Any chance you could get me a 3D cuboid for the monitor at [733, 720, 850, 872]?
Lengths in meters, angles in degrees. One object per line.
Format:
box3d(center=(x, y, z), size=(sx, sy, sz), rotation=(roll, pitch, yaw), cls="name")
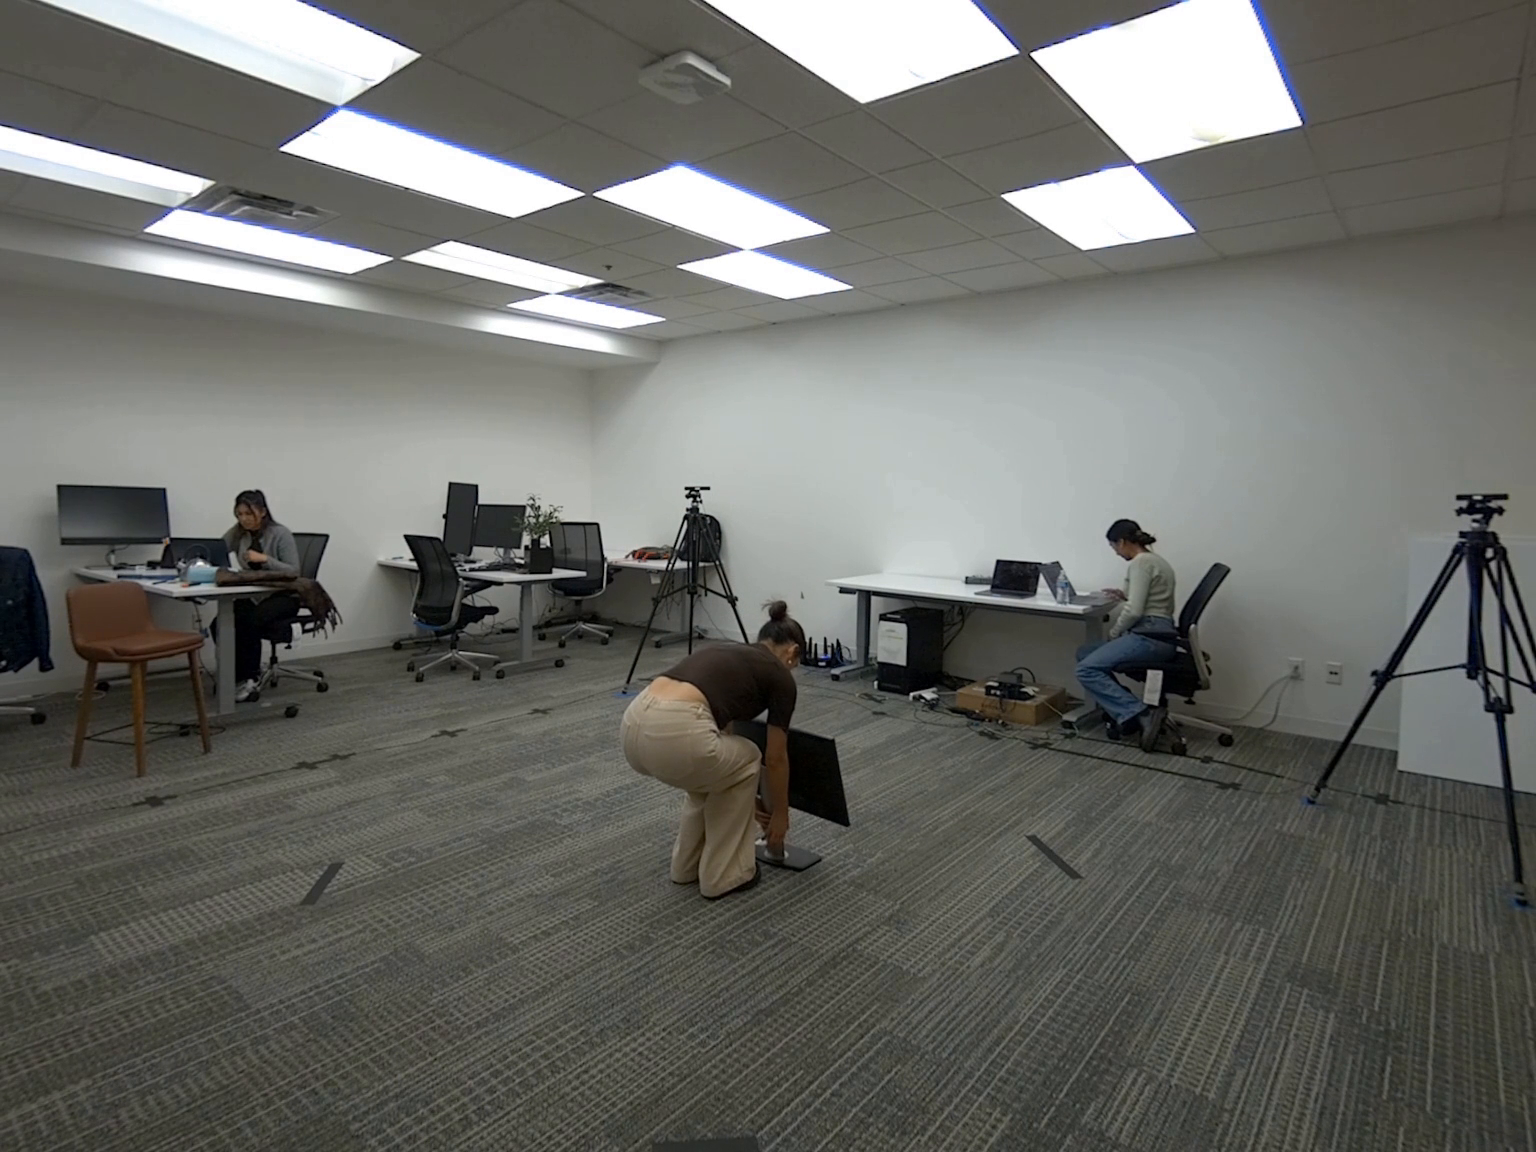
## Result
box3d(center=(0.041, 0.810, 3.194), size=(0.557, 0.520, 0.181), rotation=(4, 6, 43), cls="monitor")
